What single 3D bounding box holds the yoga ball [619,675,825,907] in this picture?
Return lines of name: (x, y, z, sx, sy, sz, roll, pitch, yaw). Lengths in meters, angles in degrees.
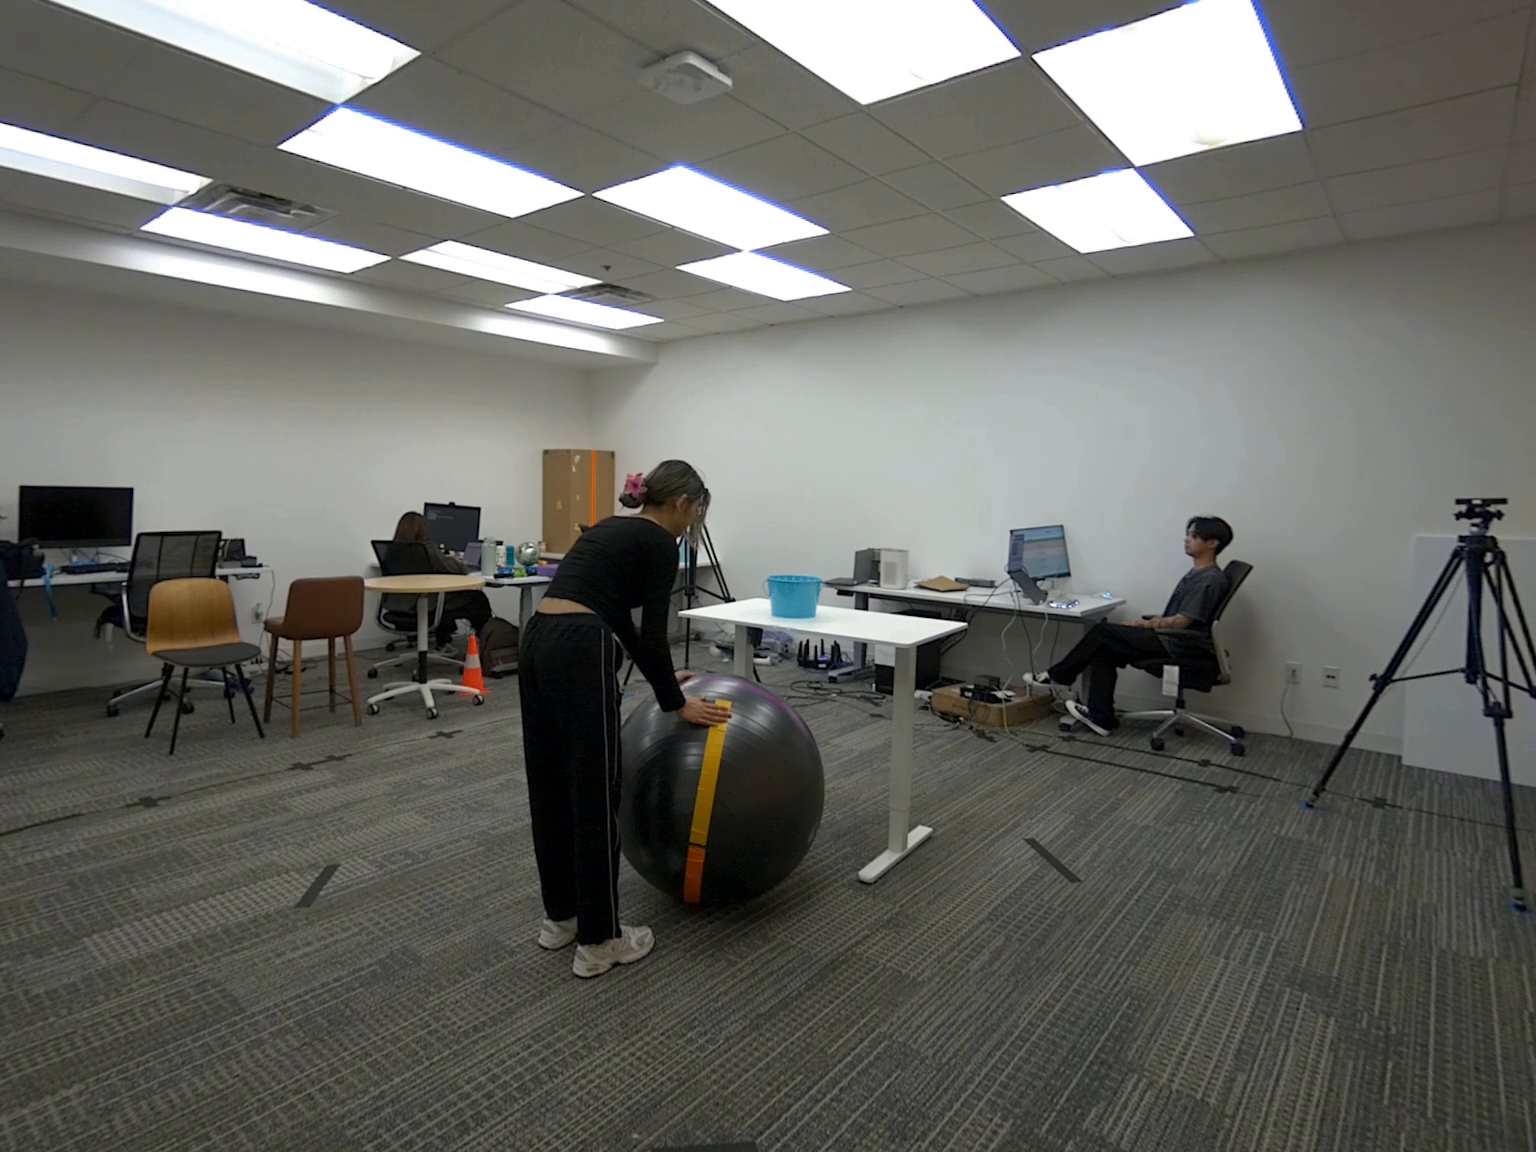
yoga ball: (-0.183, 0.724, 2.923, 0.757, 0.756, 0.761, 1, 4, -2)
